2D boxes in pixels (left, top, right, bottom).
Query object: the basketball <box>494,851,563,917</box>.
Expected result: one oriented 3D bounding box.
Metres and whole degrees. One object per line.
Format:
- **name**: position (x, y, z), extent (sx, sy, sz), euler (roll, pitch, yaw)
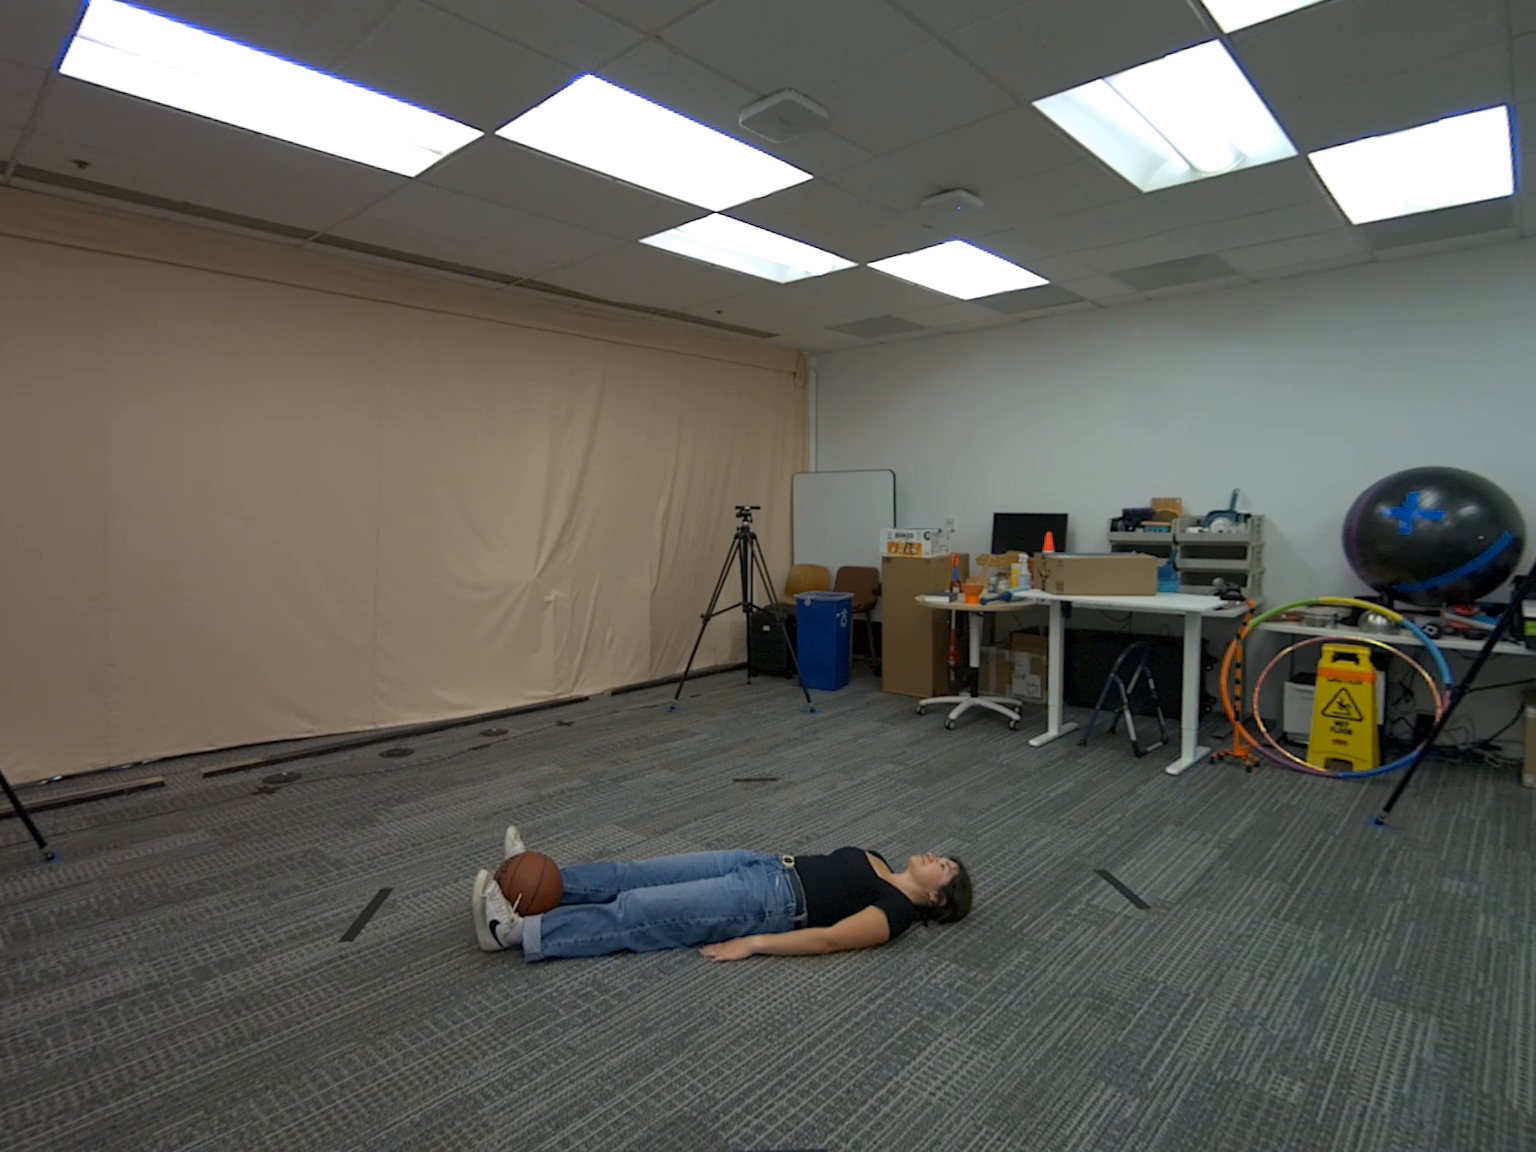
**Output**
- **basketball**: position (-0.803, 1.044, 2.803), extent (0.236, 0.235, 0.237), euler (0, 4, -2)
